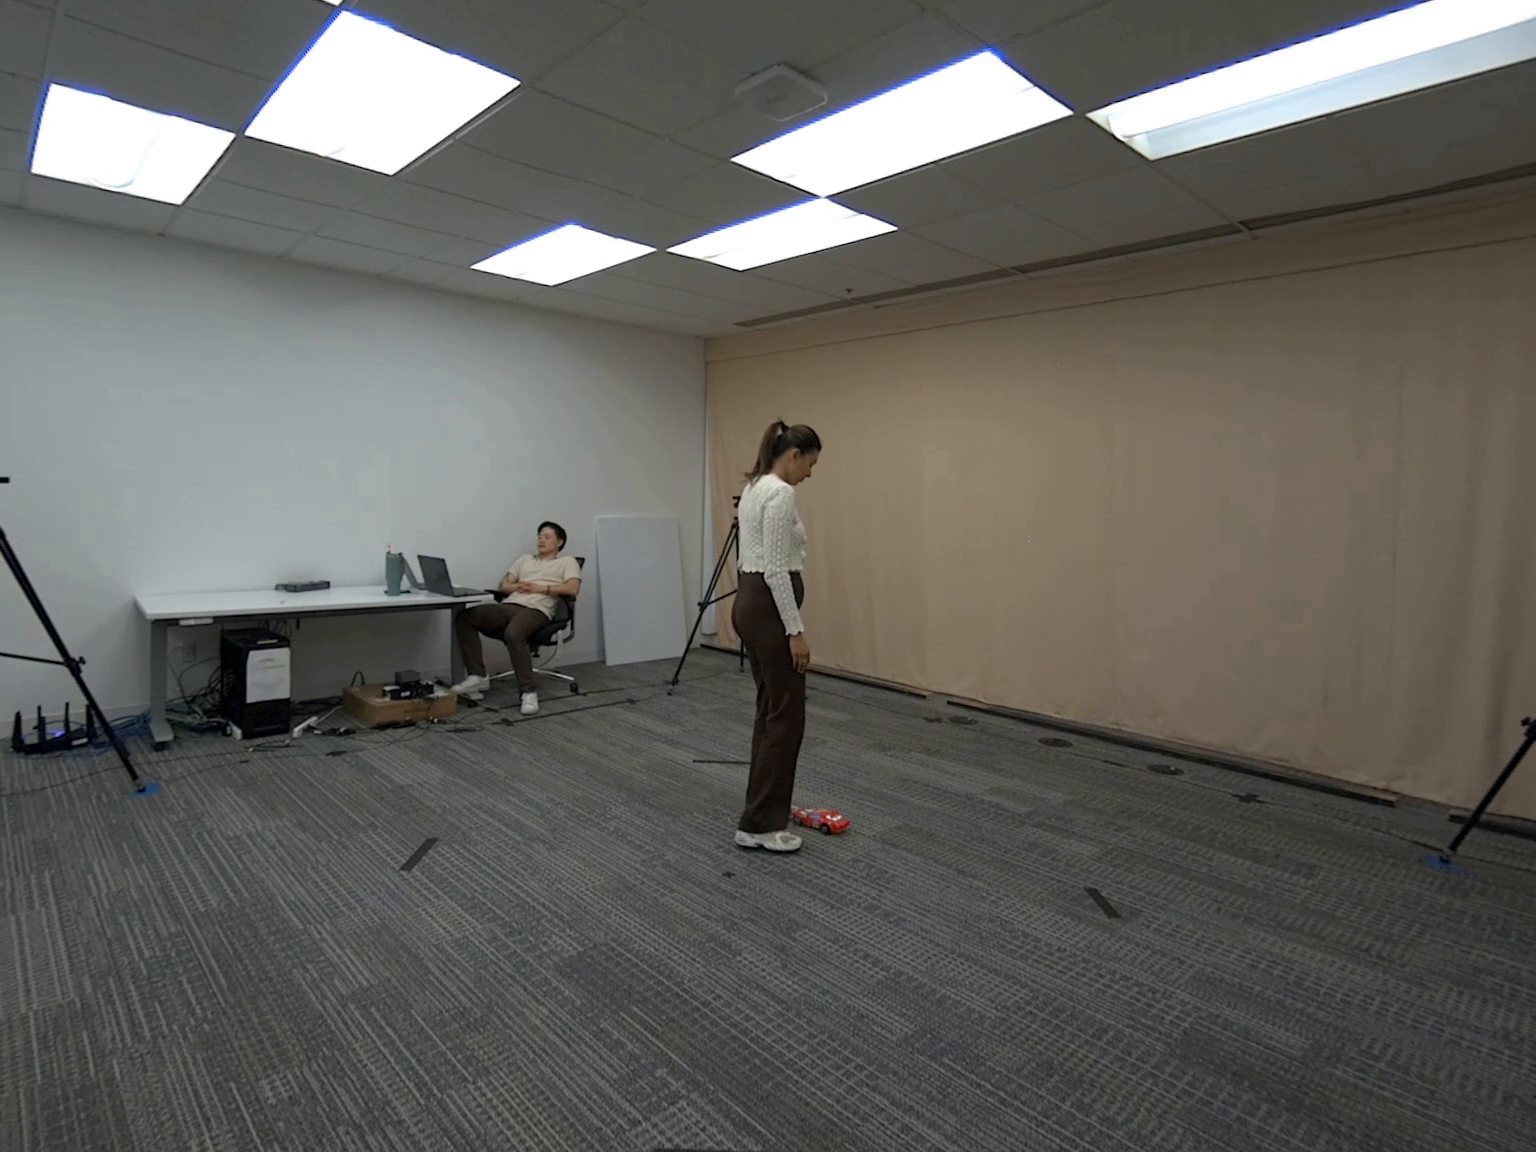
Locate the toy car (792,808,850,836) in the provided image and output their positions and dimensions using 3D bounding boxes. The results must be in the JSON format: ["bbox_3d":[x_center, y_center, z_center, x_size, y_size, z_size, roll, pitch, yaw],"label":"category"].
[{"bbox_3d":[0.222,1.039,3.574,0.259,0.083,0.127,-9,-4,40],"label":"toy car"}]
